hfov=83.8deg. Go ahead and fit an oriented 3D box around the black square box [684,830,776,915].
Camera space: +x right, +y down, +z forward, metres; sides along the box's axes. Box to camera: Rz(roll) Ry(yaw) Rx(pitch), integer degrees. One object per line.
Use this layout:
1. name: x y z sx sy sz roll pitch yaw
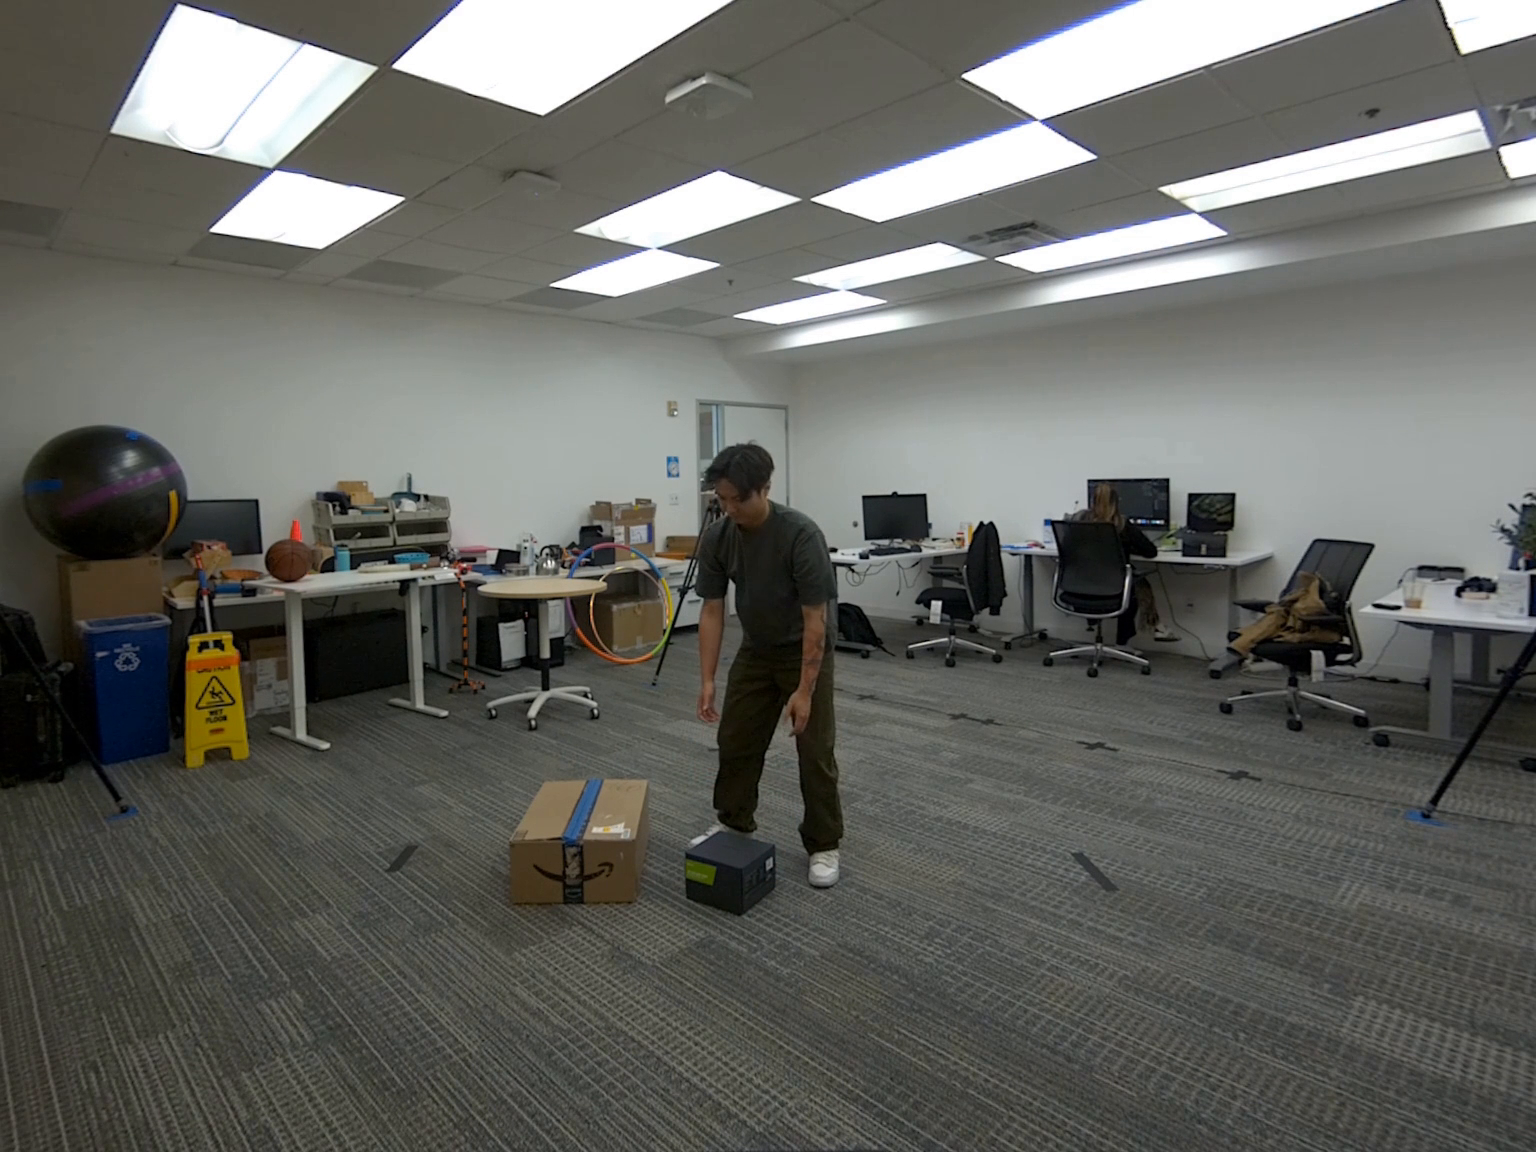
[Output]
1. black square box: -0.125 0.993 2.877 0.234 0.155 0.212 3 7 33
